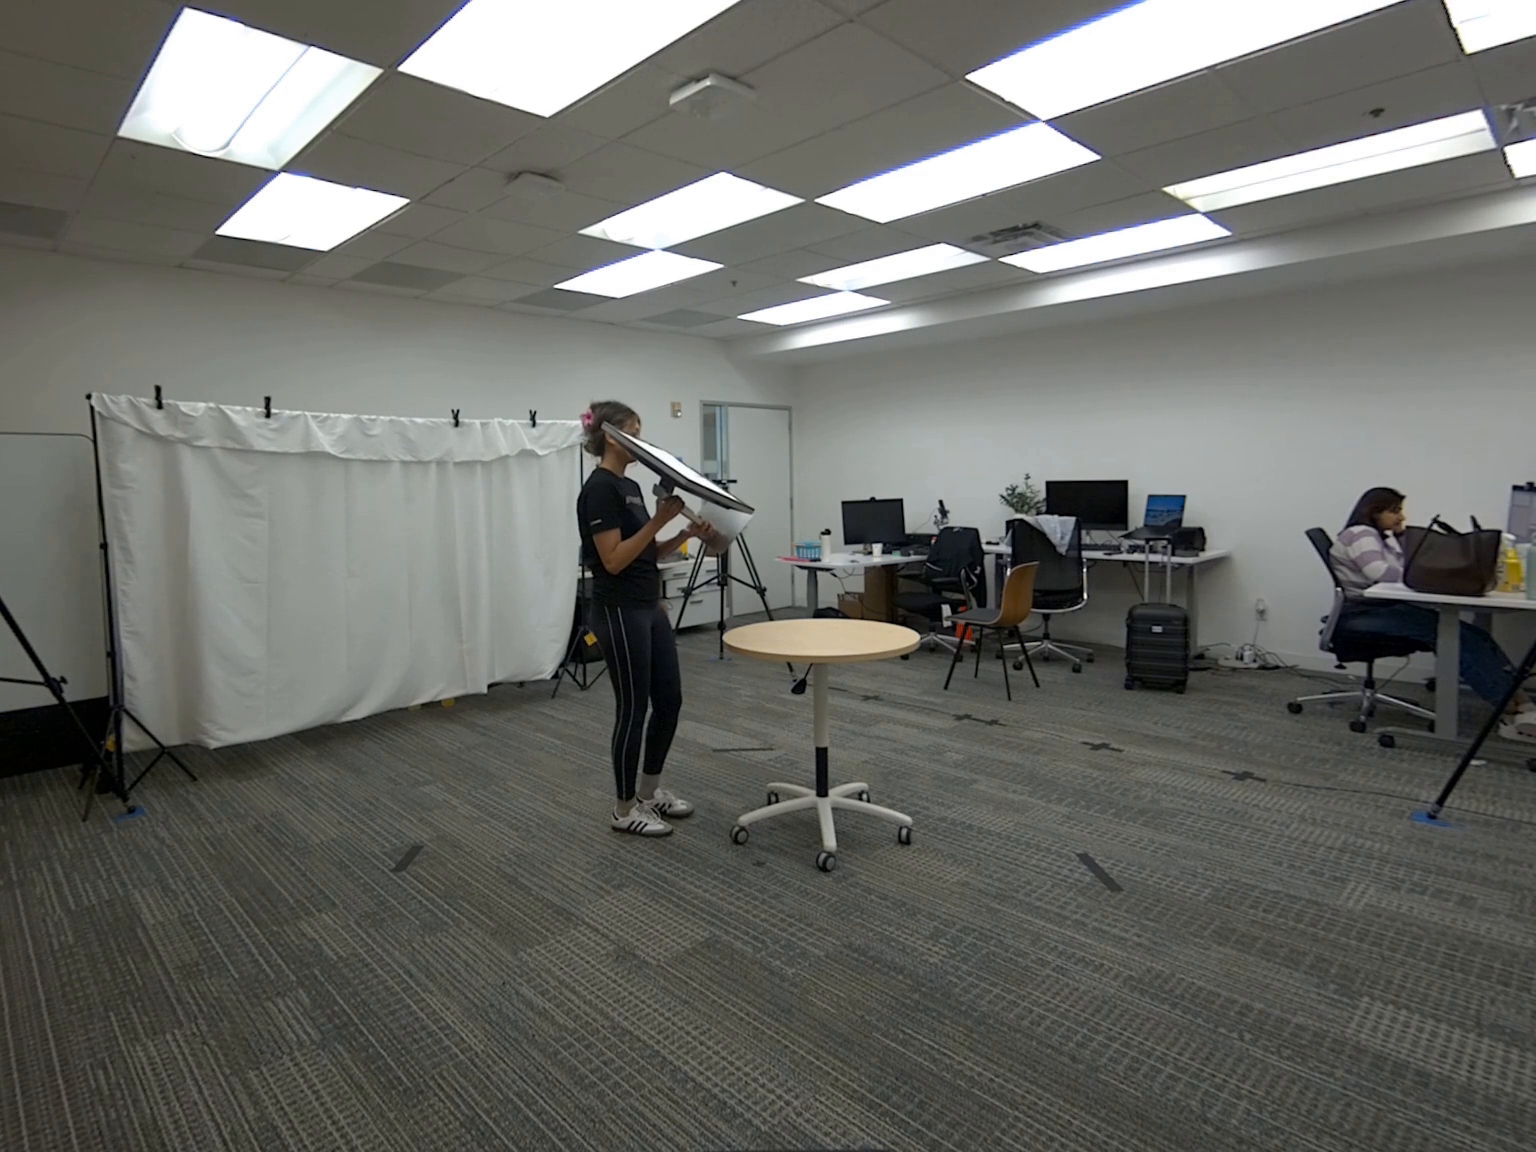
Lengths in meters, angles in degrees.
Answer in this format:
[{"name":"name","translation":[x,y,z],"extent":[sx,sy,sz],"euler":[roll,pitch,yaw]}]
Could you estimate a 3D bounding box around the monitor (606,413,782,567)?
[{"name":"monitor","translation":[-0.307,-0.342,3.180],"extent":[0.561,0.187,0.502],"euler":[37,-1,43]}]
